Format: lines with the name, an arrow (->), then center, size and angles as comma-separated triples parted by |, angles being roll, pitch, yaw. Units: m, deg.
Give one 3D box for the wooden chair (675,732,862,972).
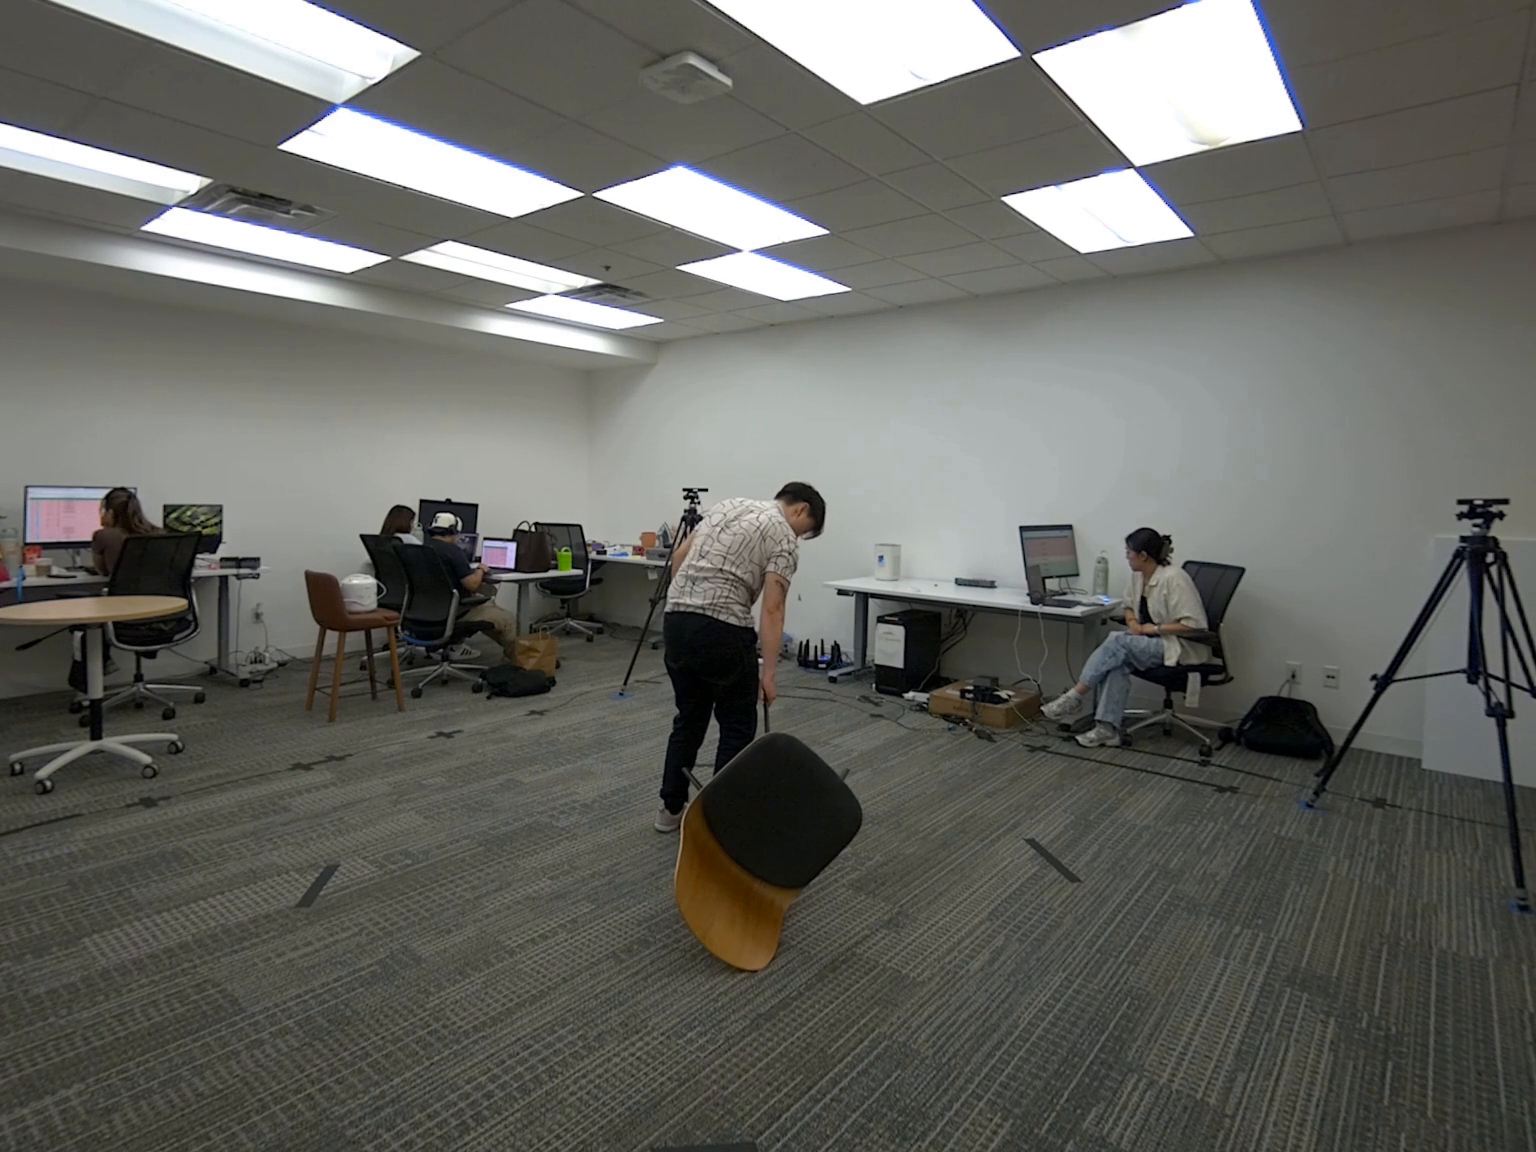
wooden chair -> 0.009, 0.799, 2.819 | 0.476, 0.523, 0.881 | 45, 9, -5
